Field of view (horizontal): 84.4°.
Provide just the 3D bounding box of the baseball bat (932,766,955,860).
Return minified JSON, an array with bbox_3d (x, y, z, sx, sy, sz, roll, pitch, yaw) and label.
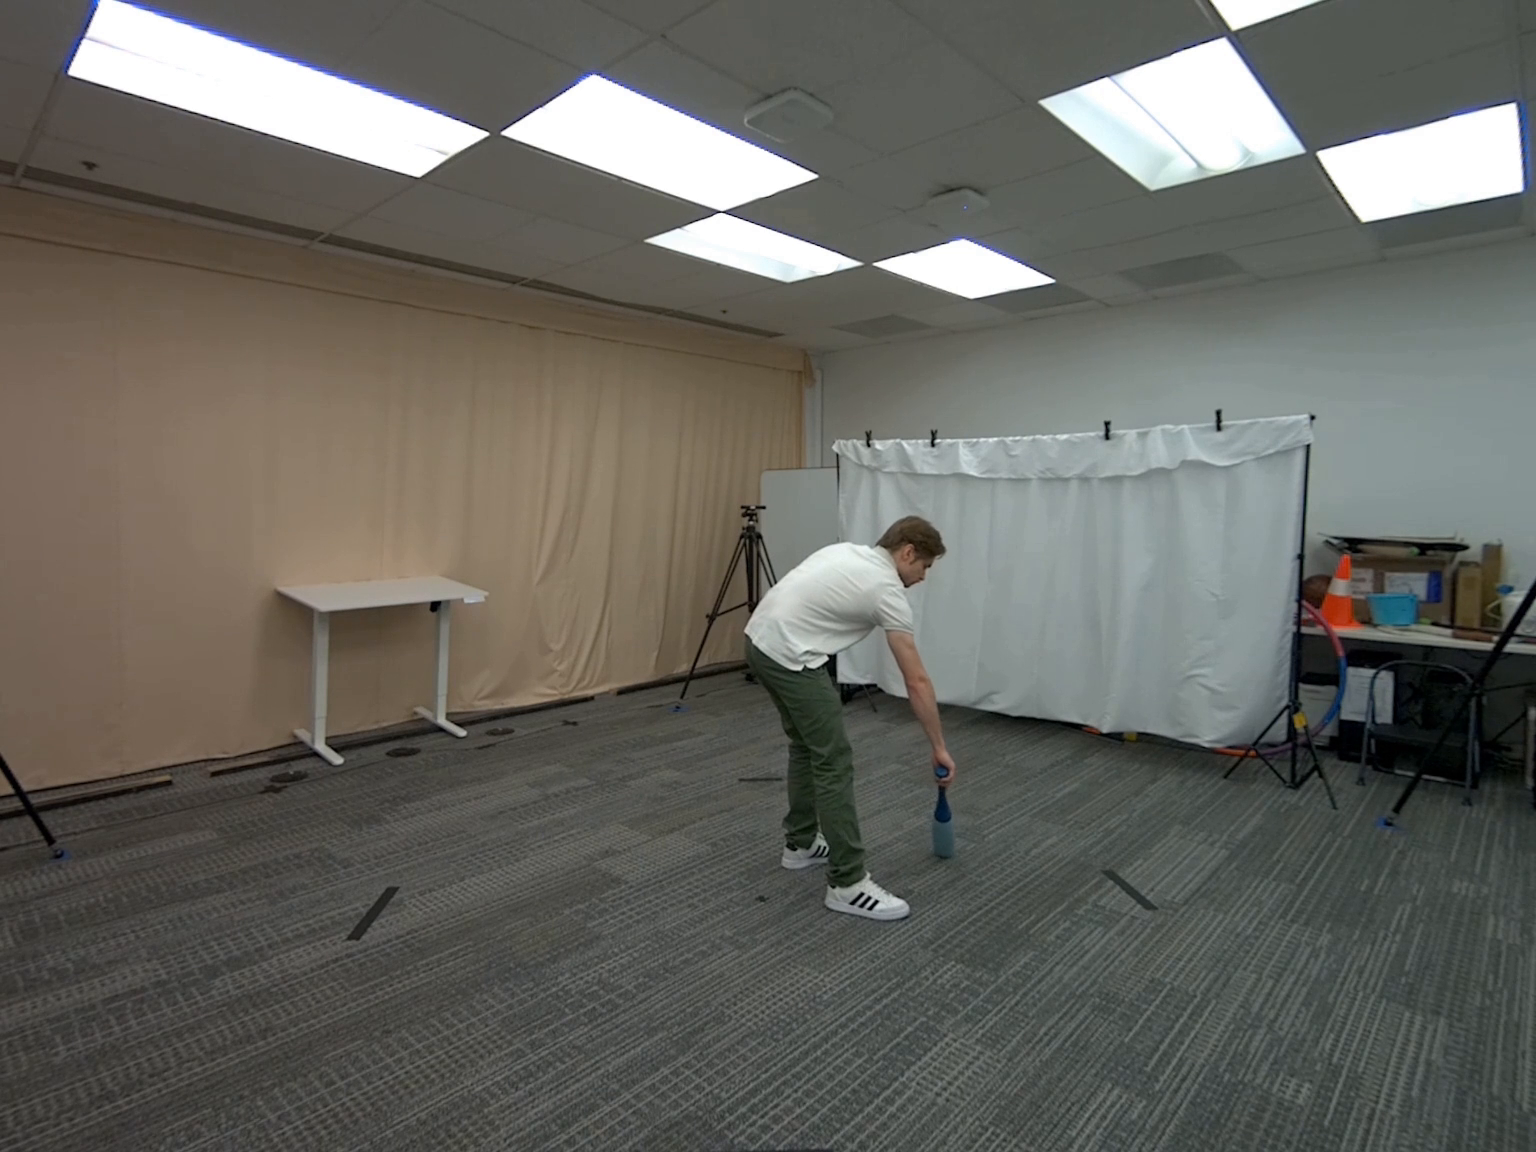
[{"bbox_3d":[0.671,0.902,3.187,0.090,0.529,0.091,-9,41,6],"label":"baseball bat"}]
